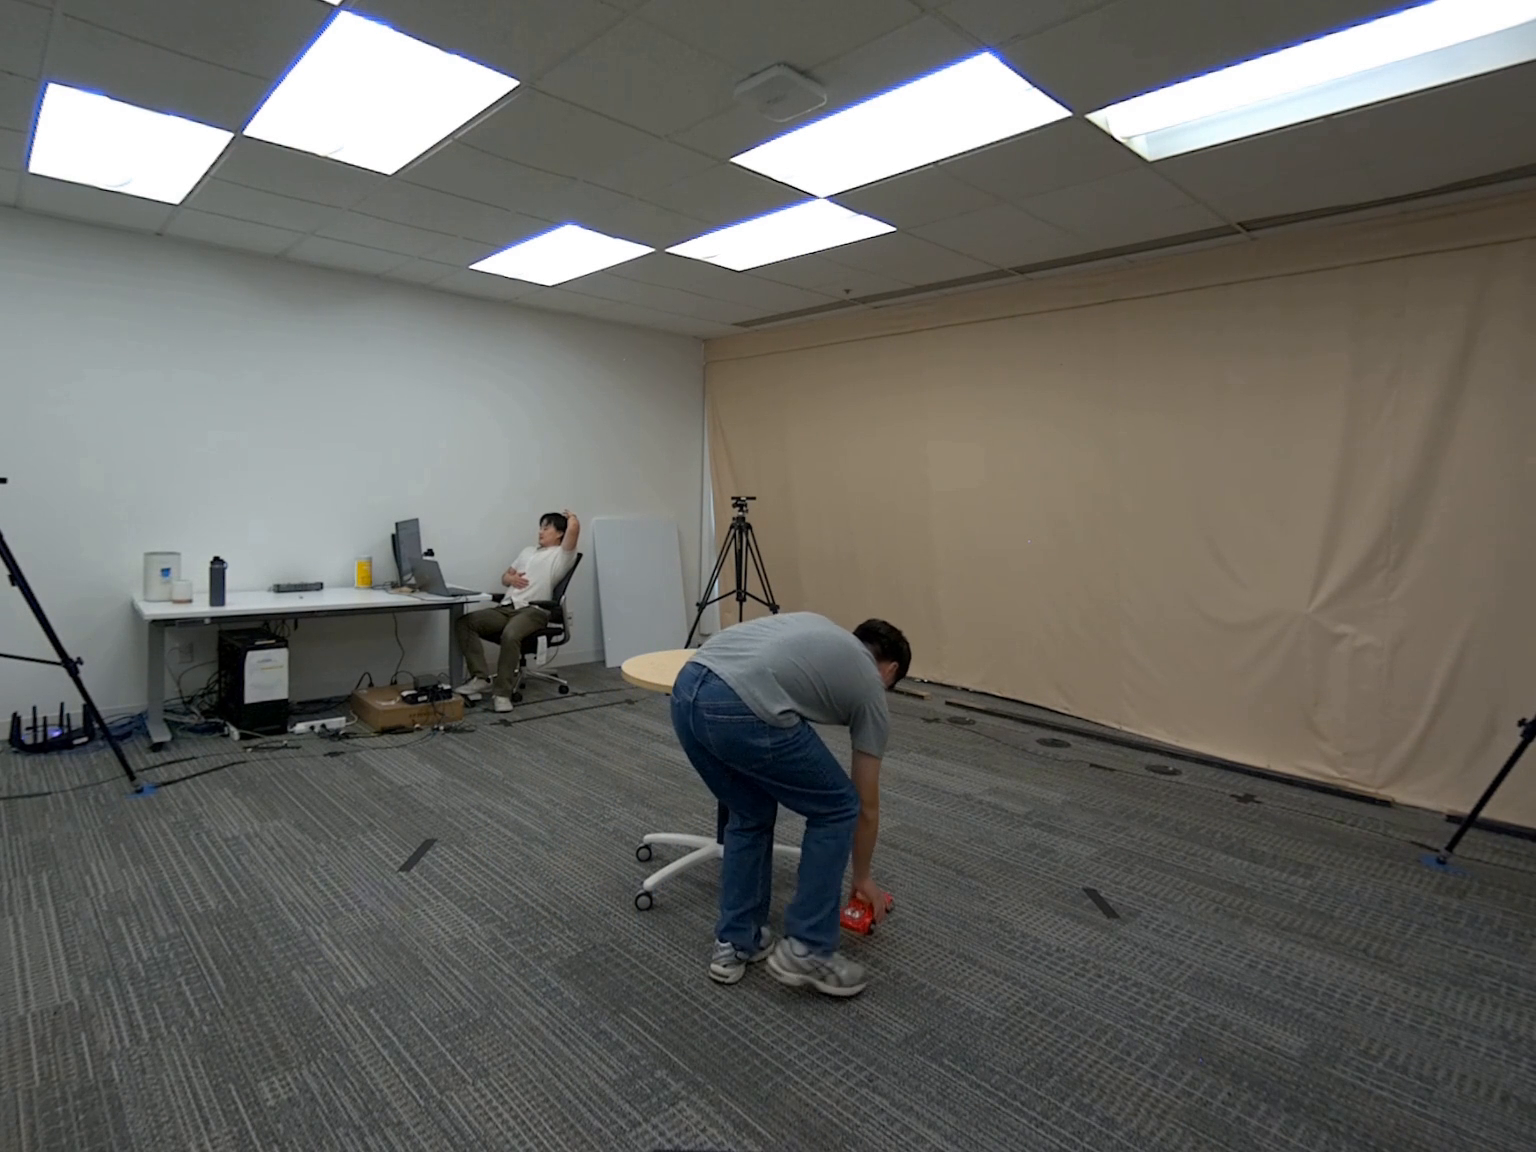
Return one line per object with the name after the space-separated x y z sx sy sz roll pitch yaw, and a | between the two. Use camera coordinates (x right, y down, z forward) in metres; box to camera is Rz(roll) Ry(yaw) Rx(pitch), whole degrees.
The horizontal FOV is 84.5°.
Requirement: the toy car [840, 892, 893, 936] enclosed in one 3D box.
0.288 1.075 2.638 0.133 0.083 0.248 4 -2 31 | toy car
